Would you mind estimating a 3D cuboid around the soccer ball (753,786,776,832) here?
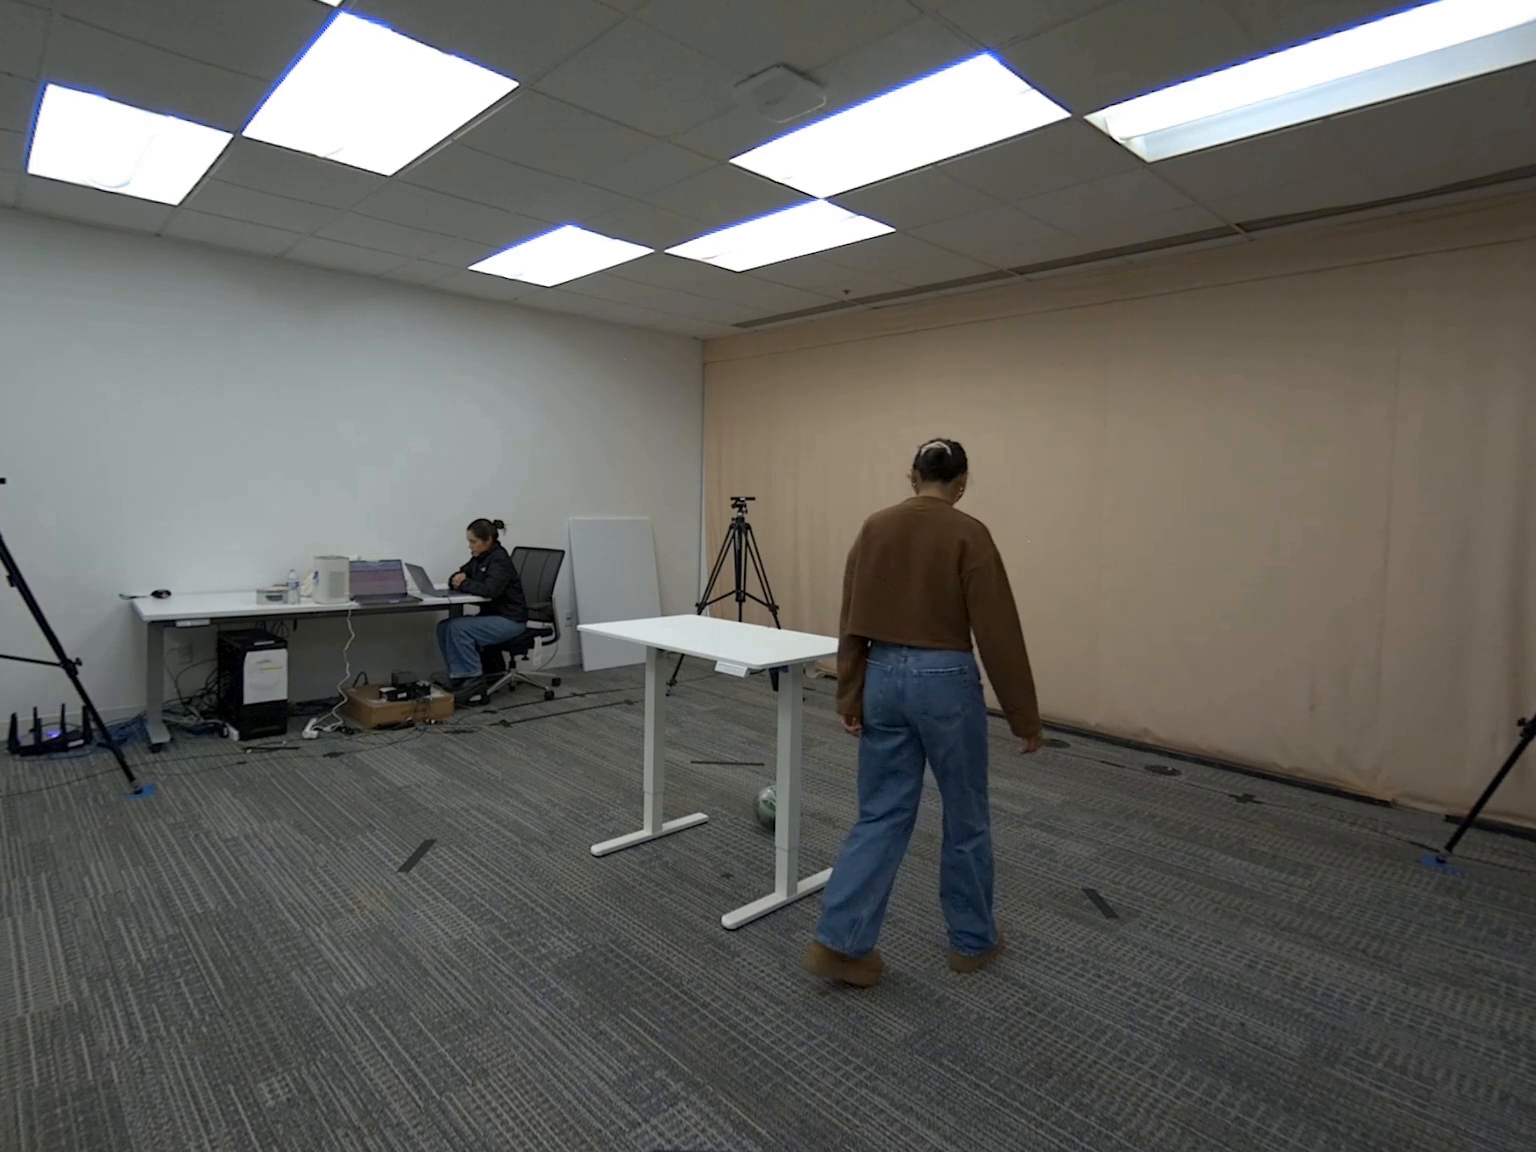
[{"bbox_3d":[0.026,0.975,3.573,0.187,0.187,0.188,1,4,-1],"label":"soccer ball"}]
